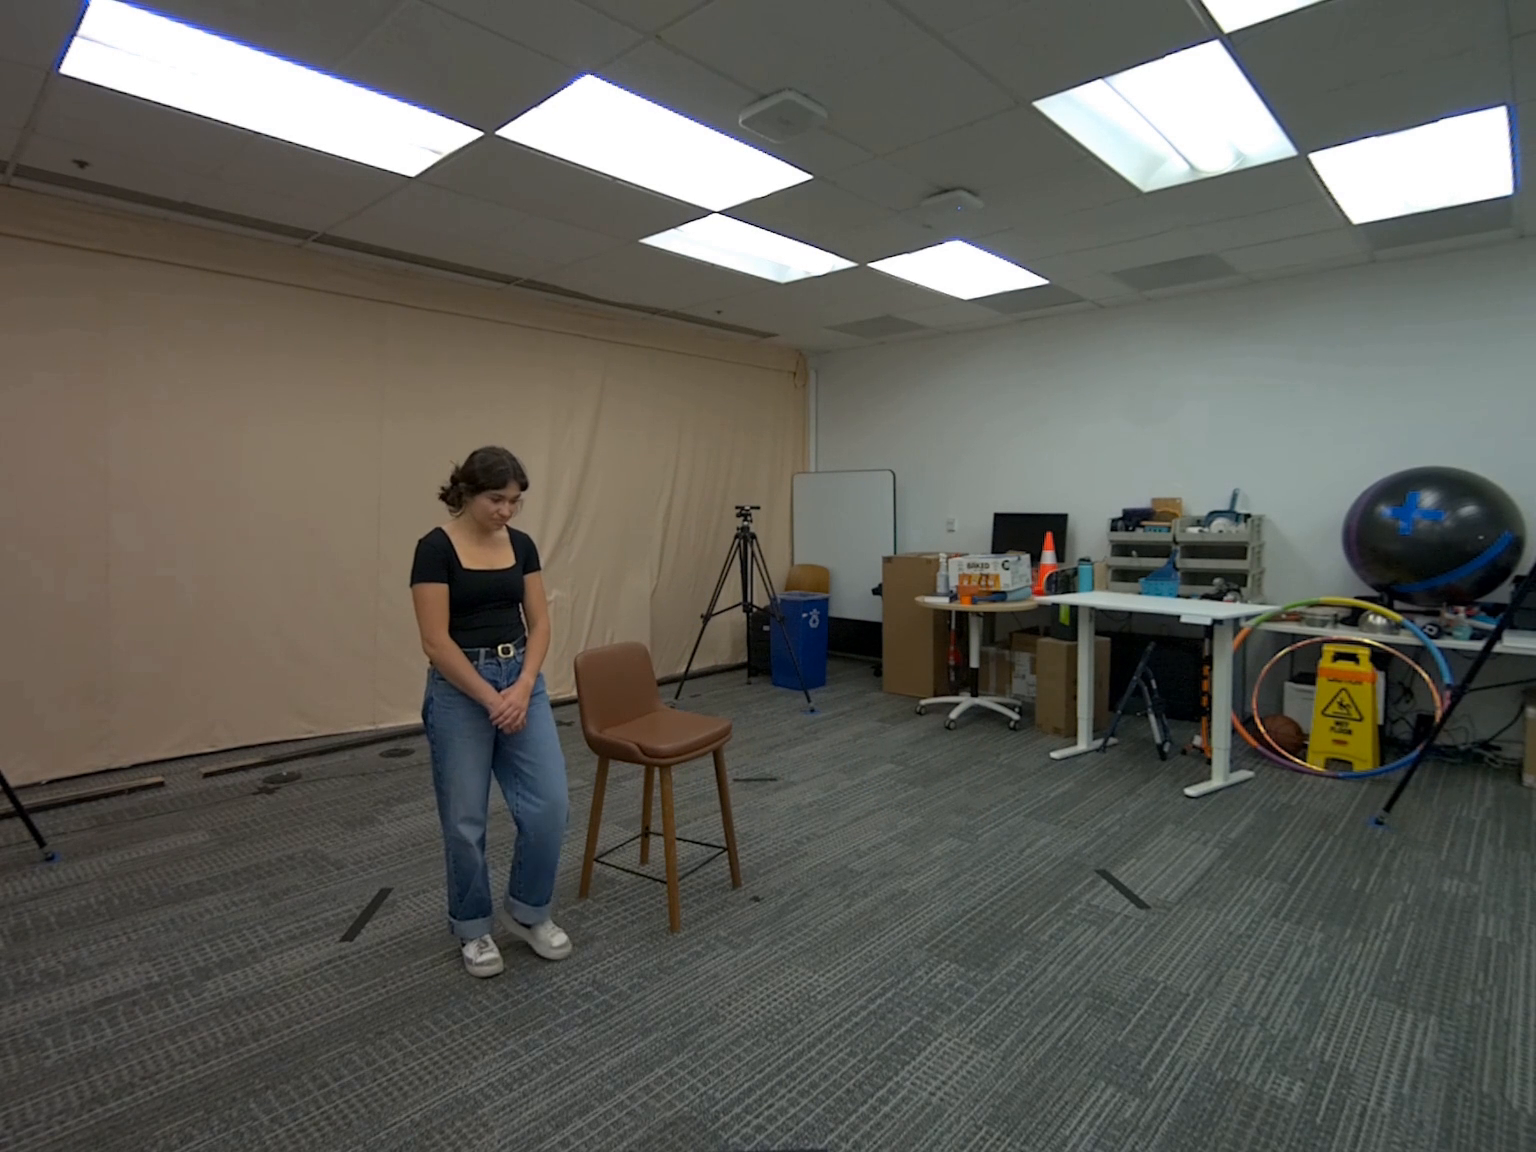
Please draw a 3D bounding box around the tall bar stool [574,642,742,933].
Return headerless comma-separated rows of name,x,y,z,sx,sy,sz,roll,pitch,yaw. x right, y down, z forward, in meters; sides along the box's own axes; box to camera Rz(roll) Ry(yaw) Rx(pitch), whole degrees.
tall bar stool,-0.397,0.711,3.017,0.481,0.888,0.444,0,3,33
